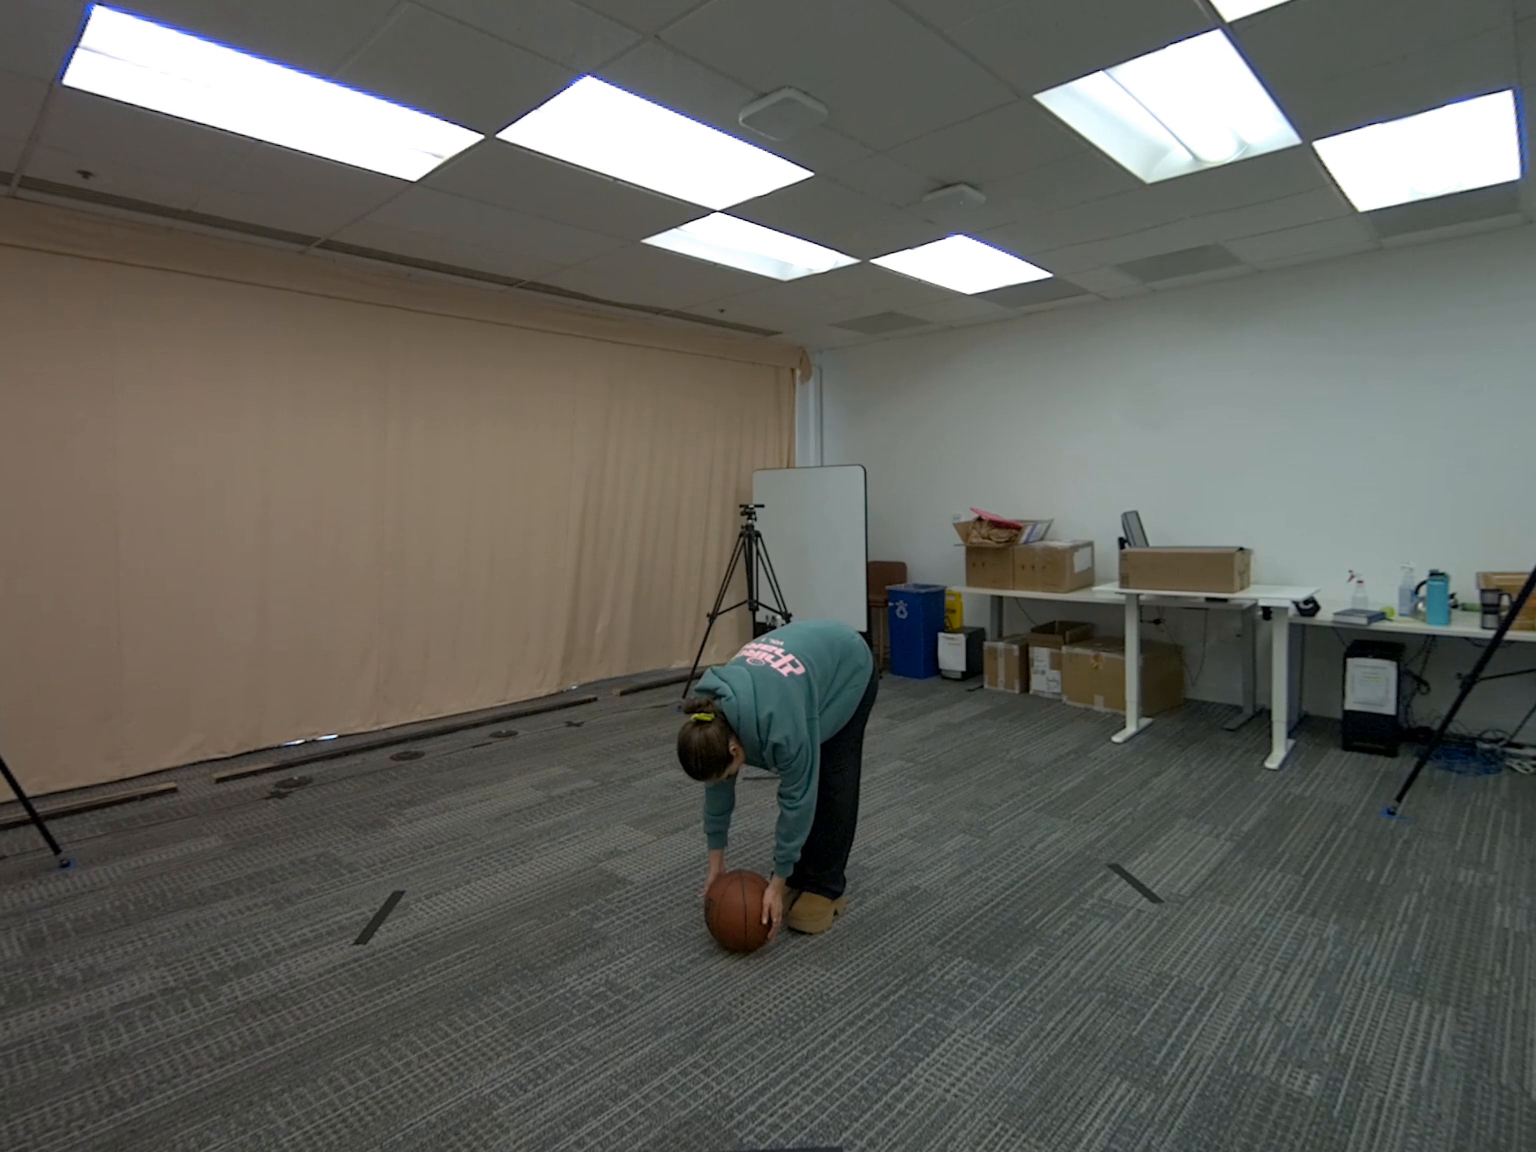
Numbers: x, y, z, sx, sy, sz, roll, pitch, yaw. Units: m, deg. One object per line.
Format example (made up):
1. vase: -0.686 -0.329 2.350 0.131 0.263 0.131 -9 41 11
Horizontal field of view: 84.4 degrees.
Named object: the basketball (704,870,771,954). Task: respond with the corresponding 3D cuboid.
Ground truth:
1. basketball: -0.080 1.045 2.654 0.236 0.235 0.237 -1 4 -2
